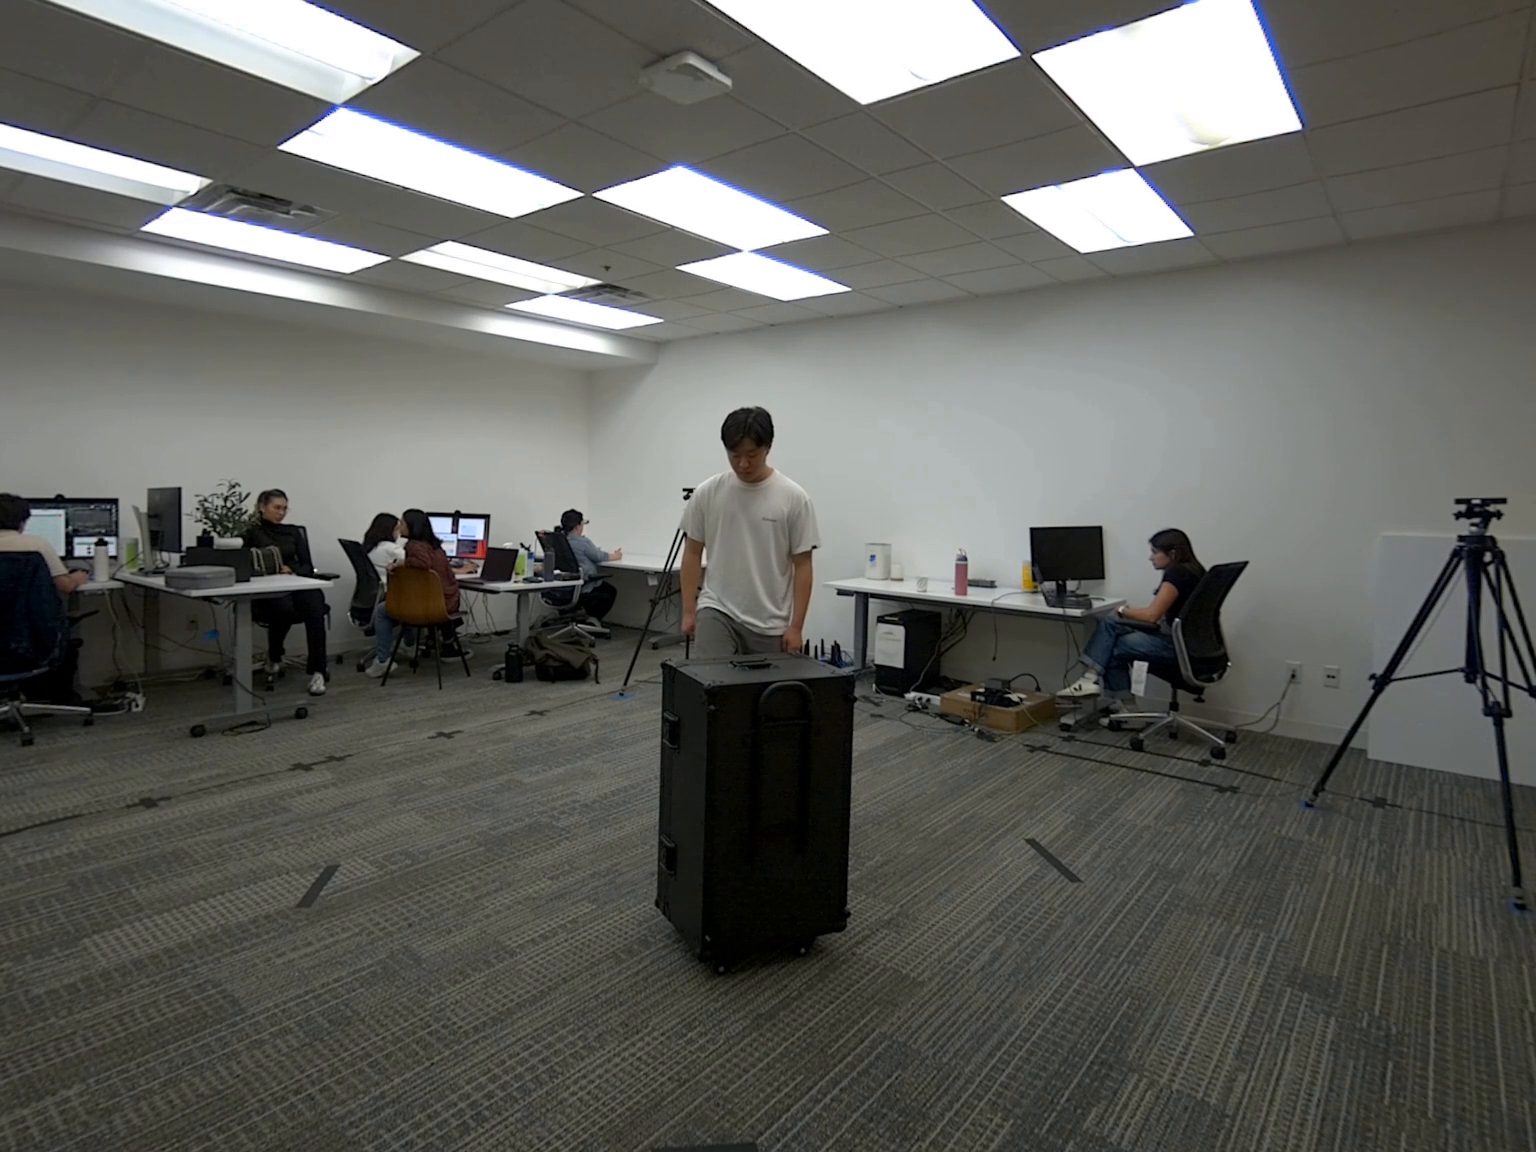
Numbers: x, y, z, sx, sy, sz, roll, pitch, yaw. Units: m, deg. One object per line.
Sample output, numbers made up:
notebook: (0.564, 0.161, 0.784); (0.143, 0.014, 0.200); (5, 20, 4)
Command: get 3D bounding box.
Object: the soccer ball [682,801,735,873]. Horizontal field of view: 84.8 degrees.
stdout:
soccer ball: (-0.222, 0.965, 3.122); (0.187, 0.187, 0.188); (1, 4, -2)
